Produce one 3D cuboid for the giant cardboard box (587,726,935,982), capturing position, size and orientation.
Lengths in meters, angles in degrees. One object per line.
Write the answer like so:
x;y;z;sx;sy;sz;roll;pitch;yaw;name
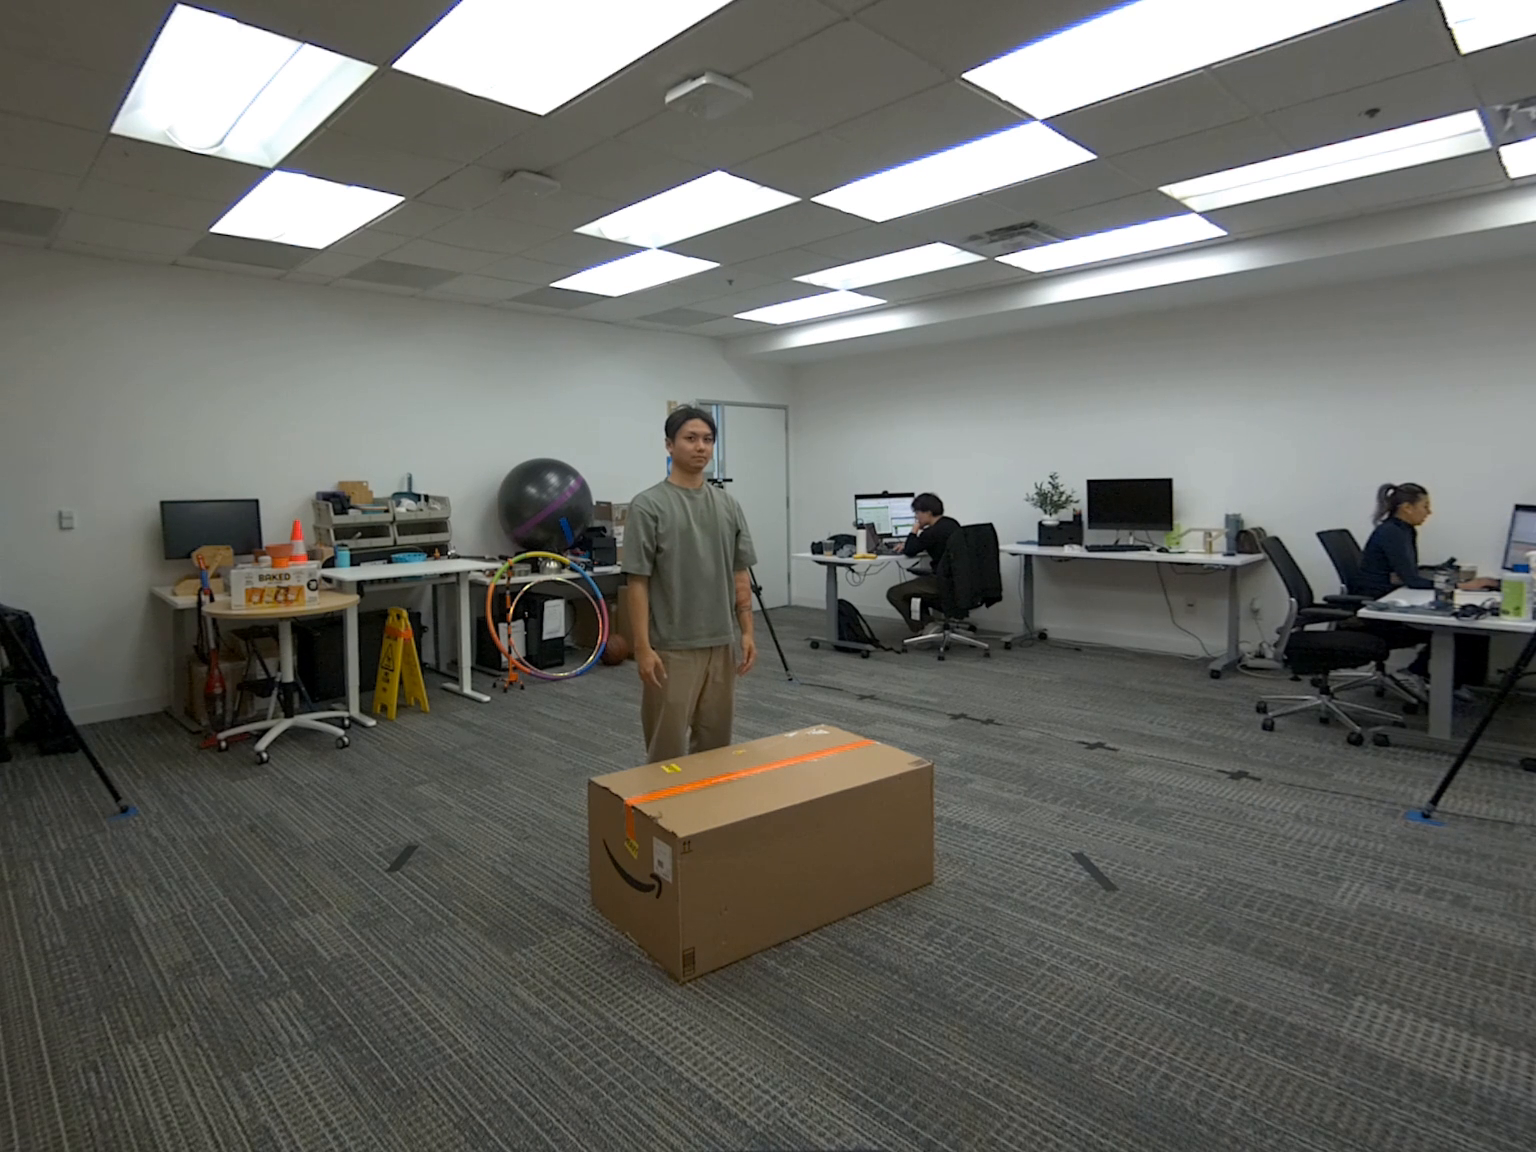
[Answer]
-0.009;0.857;2.867;1.000;0.424;0.594;-5;7;-35;giant cardboard box
